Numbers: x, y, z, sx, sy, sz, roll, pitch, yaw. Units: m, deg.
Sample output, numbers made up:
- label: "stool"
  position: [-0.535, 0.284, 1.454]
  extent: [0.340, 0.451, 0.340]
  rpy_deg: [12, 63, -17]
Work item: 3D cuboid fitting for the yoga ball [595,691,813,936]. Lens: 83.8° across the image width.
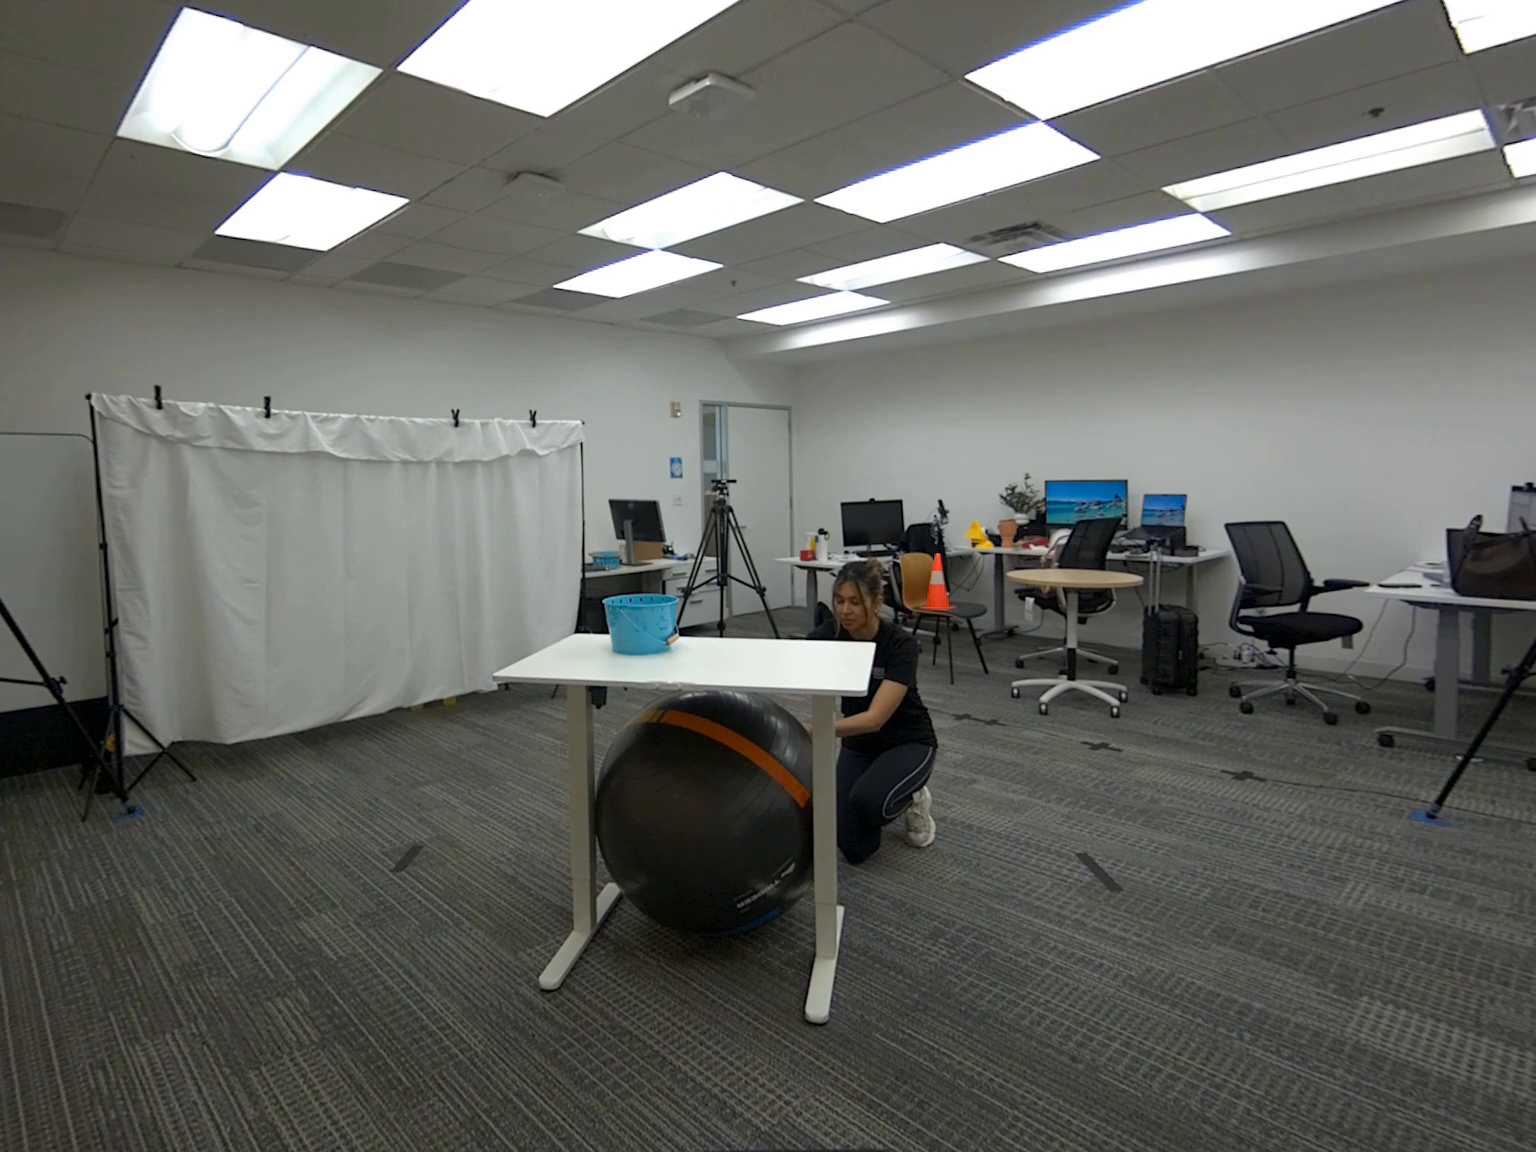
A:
- label: "yoga ball"
  position: [-0.170, 0.741, 2.700]
  extent: [0.757, 0.755, 0.762]
  rpy_deg: [-1, 5, -2]
